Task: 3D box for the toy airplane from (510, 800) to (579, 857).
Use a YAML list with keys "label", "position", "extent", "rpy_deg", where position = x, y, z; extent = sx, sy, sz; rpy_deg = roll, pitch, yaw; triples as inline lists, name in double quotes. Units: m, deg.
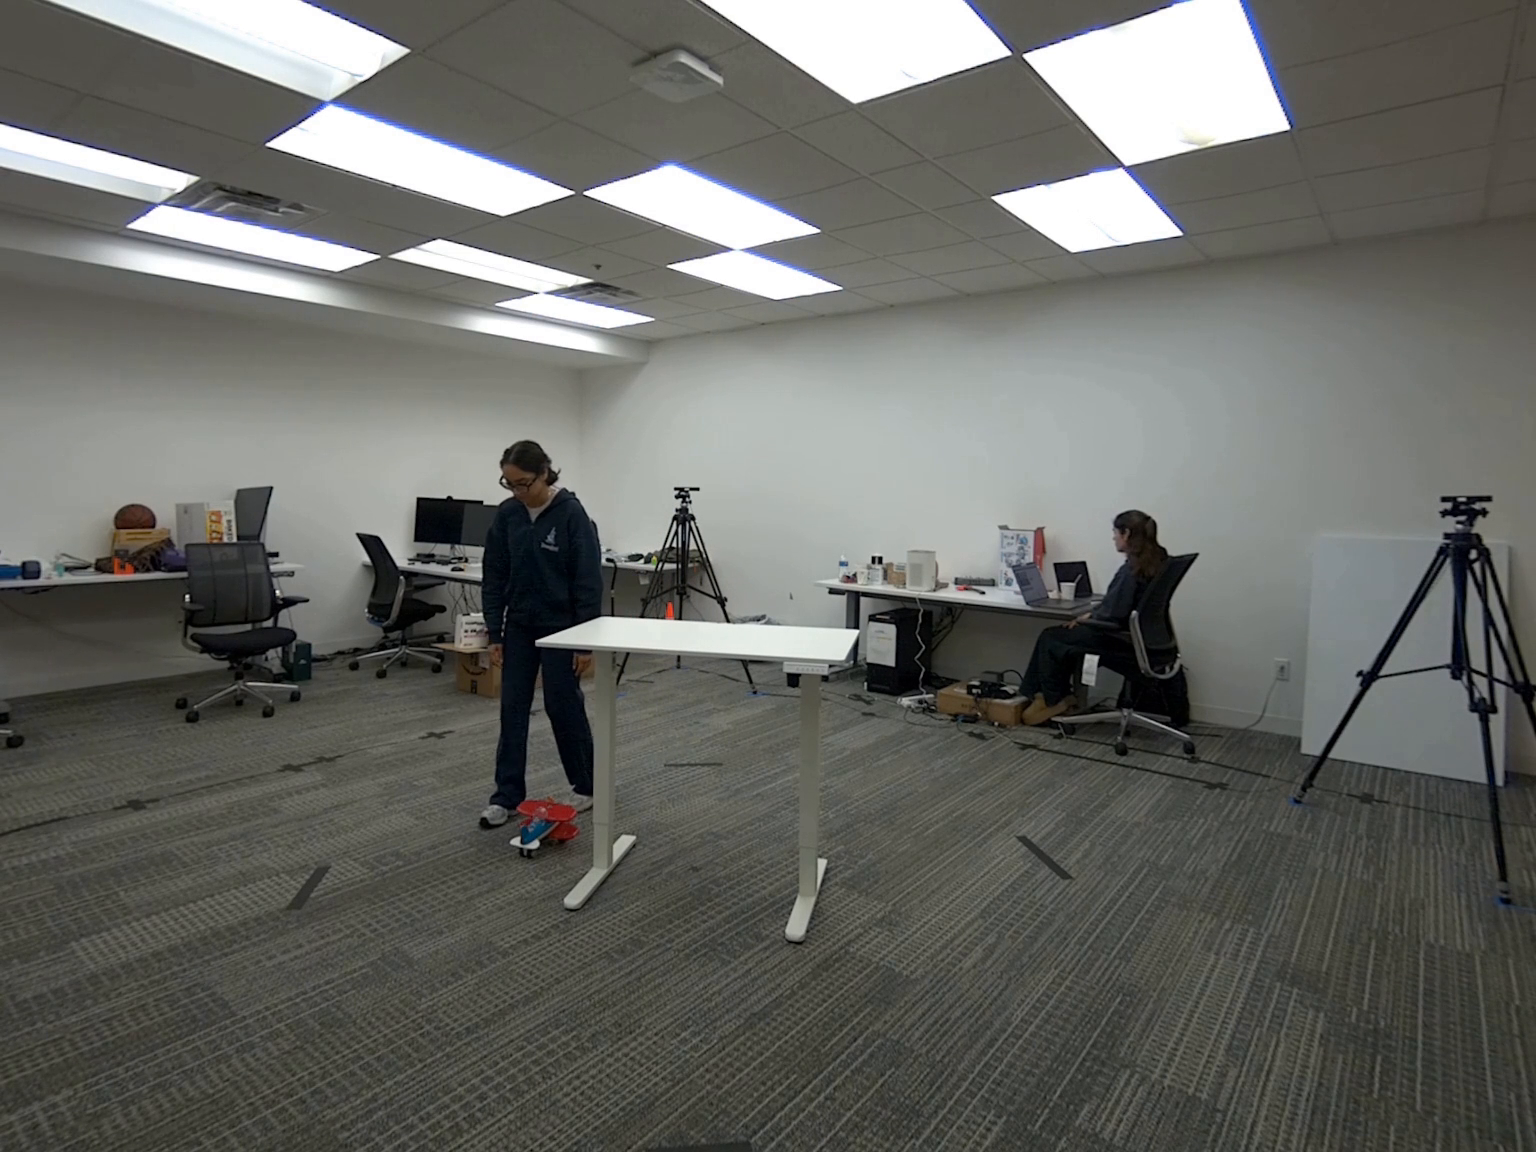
- label: "toy airplane"
  position: [-0.860, 0.969, 3.259]
  extent: [0.250, 0.156, 0.261]
  rpy_deg: [1, 4, -6]
